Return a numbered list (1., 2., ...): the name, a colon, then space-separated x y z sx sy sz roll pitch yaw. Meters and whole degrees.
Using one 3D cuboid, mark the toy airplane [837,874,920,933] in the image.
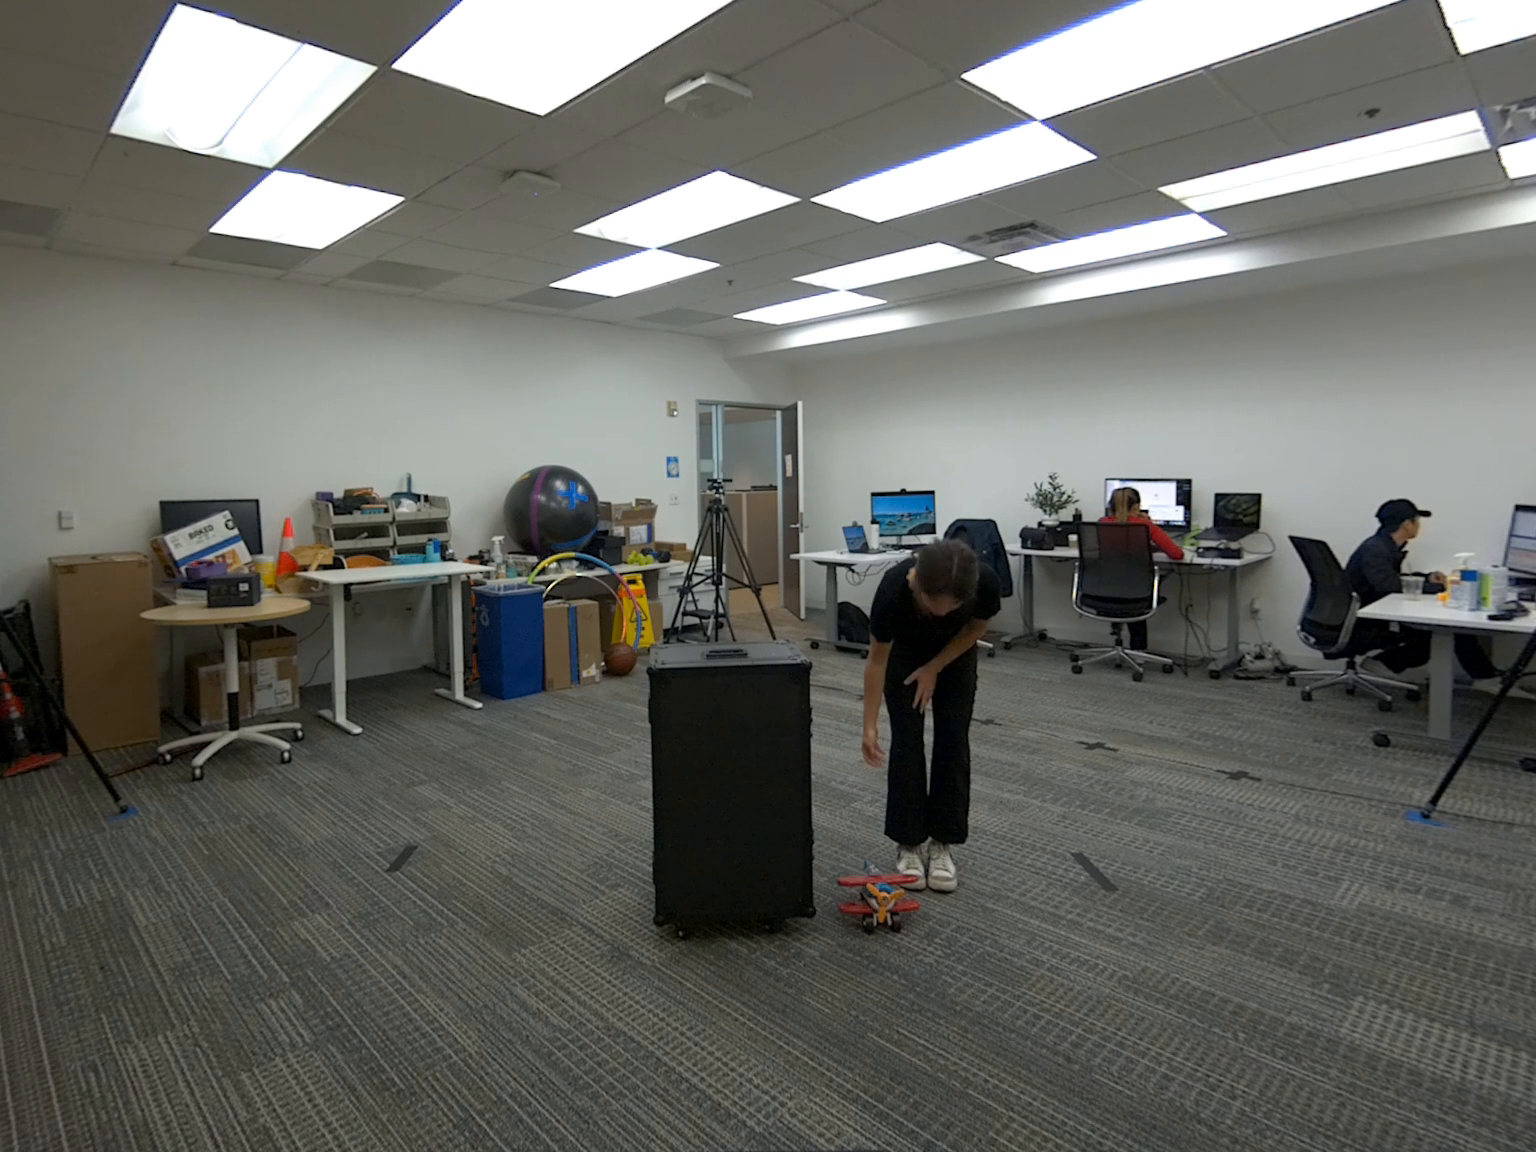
1. toy airplane: 0.321 1.007 2.701 0.245 0.156 0.267 -4 8 -32
